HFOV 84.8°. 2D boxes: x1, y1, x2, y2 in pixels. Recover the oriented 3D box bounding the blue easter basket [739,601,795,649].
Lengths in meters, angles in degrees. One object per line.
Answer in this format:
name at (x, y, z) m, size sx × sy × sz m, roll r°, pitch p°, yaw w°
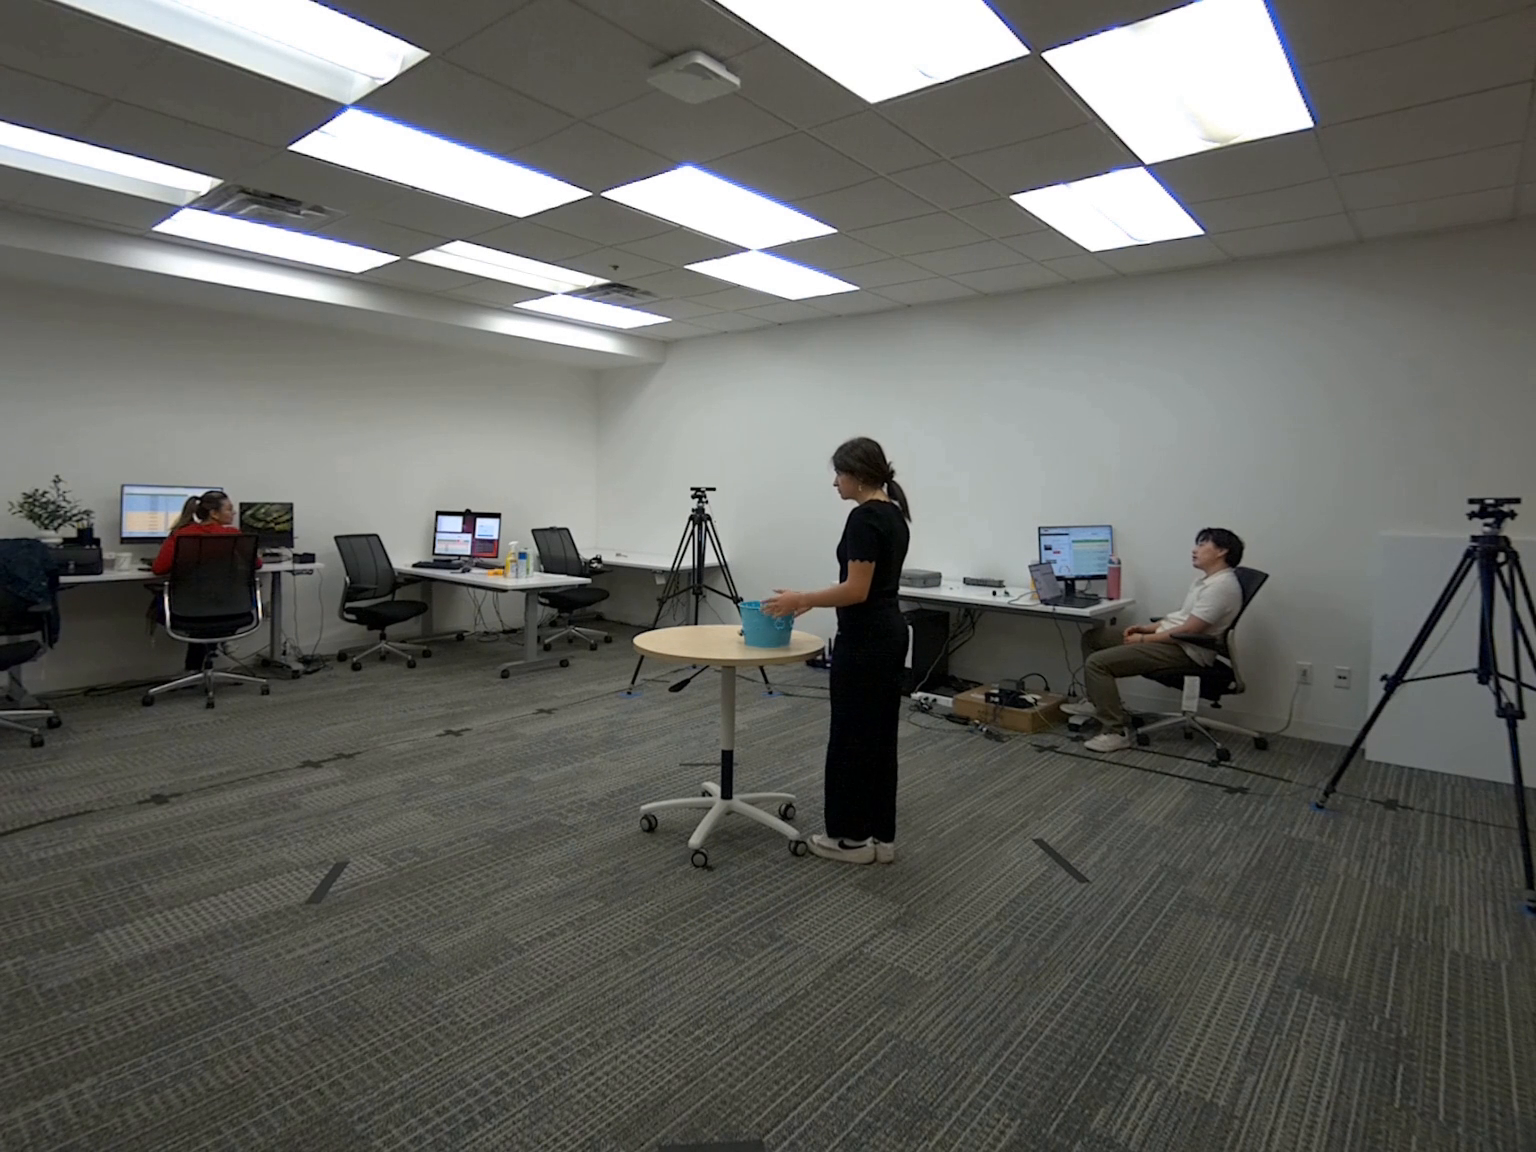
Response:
blue easter basket at (-0.010, 0.188, 3.371) m, size 0.243 × 0.155 × 0.245 m, roll 1°, pitch 6°, yaw -2°
